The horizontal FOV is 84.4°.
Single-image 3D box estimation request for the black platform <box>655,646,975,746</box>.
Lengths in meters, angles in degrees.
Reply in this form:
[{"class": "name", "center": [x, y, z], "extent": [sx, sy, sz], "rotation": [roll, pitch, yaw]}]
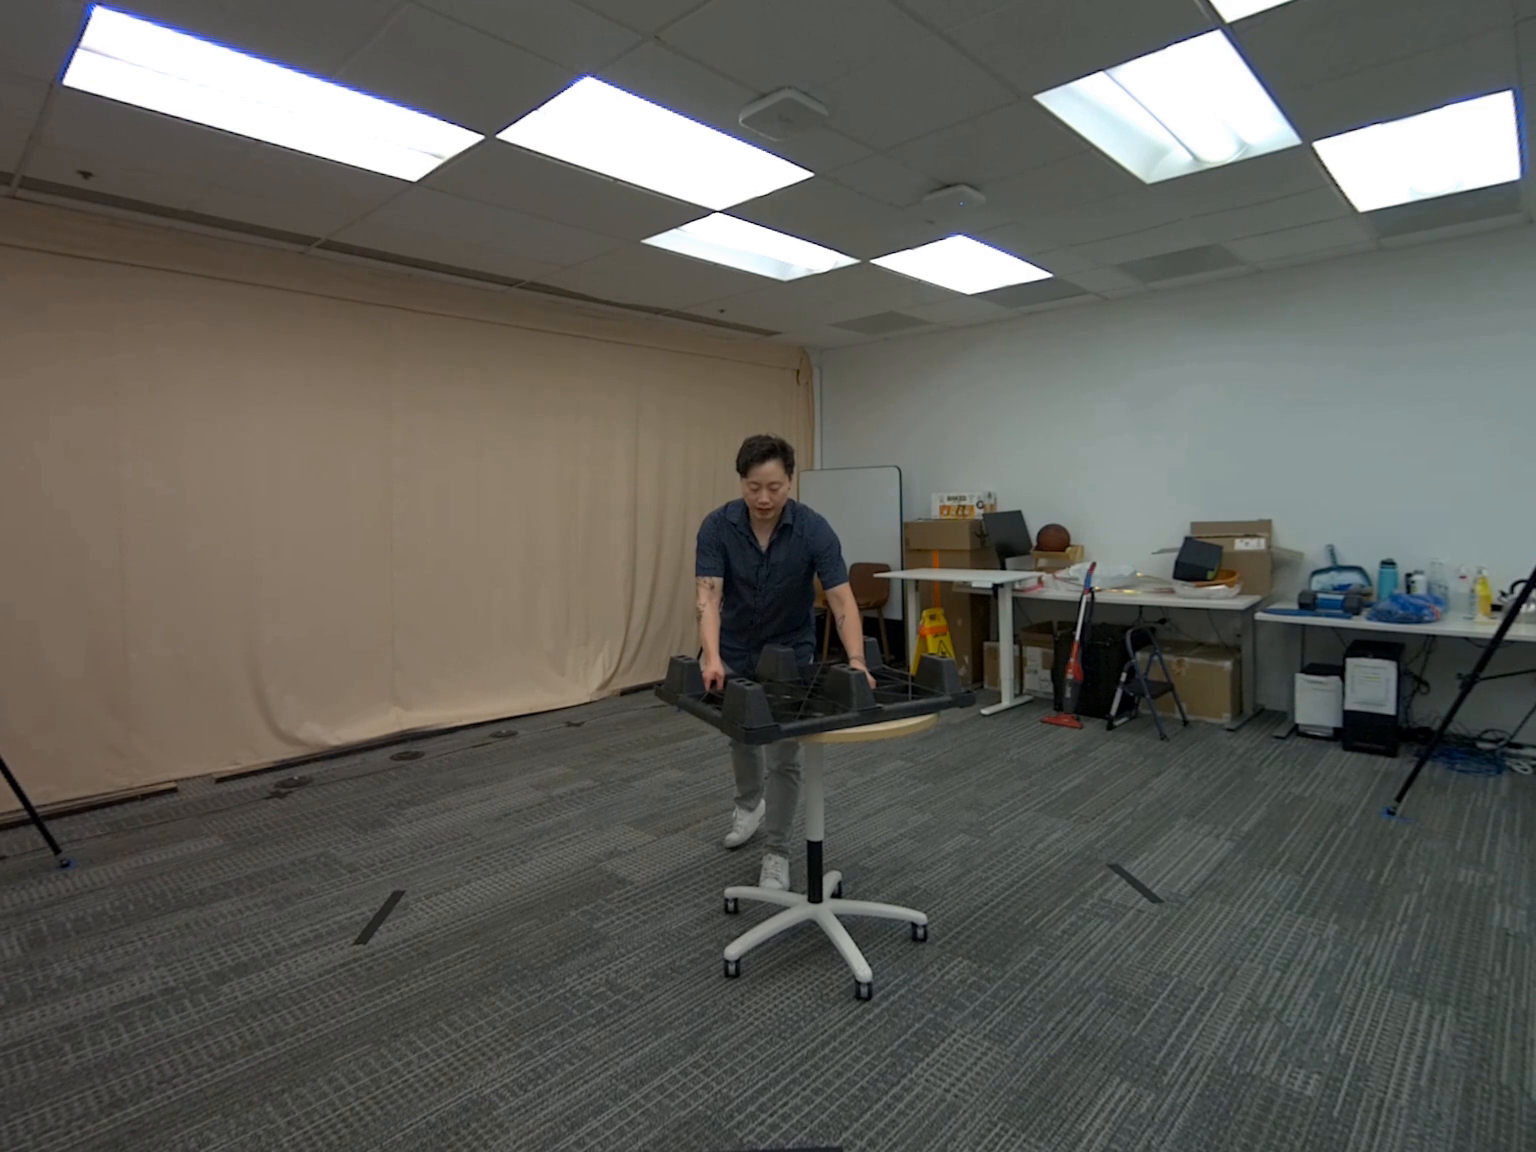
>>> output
[{"class": "black platform", "center": [0.135, 0.317, 2.569], "extent": [0.784, 0.143, 0.623], "rotation": [-4, 6, -30]}]
